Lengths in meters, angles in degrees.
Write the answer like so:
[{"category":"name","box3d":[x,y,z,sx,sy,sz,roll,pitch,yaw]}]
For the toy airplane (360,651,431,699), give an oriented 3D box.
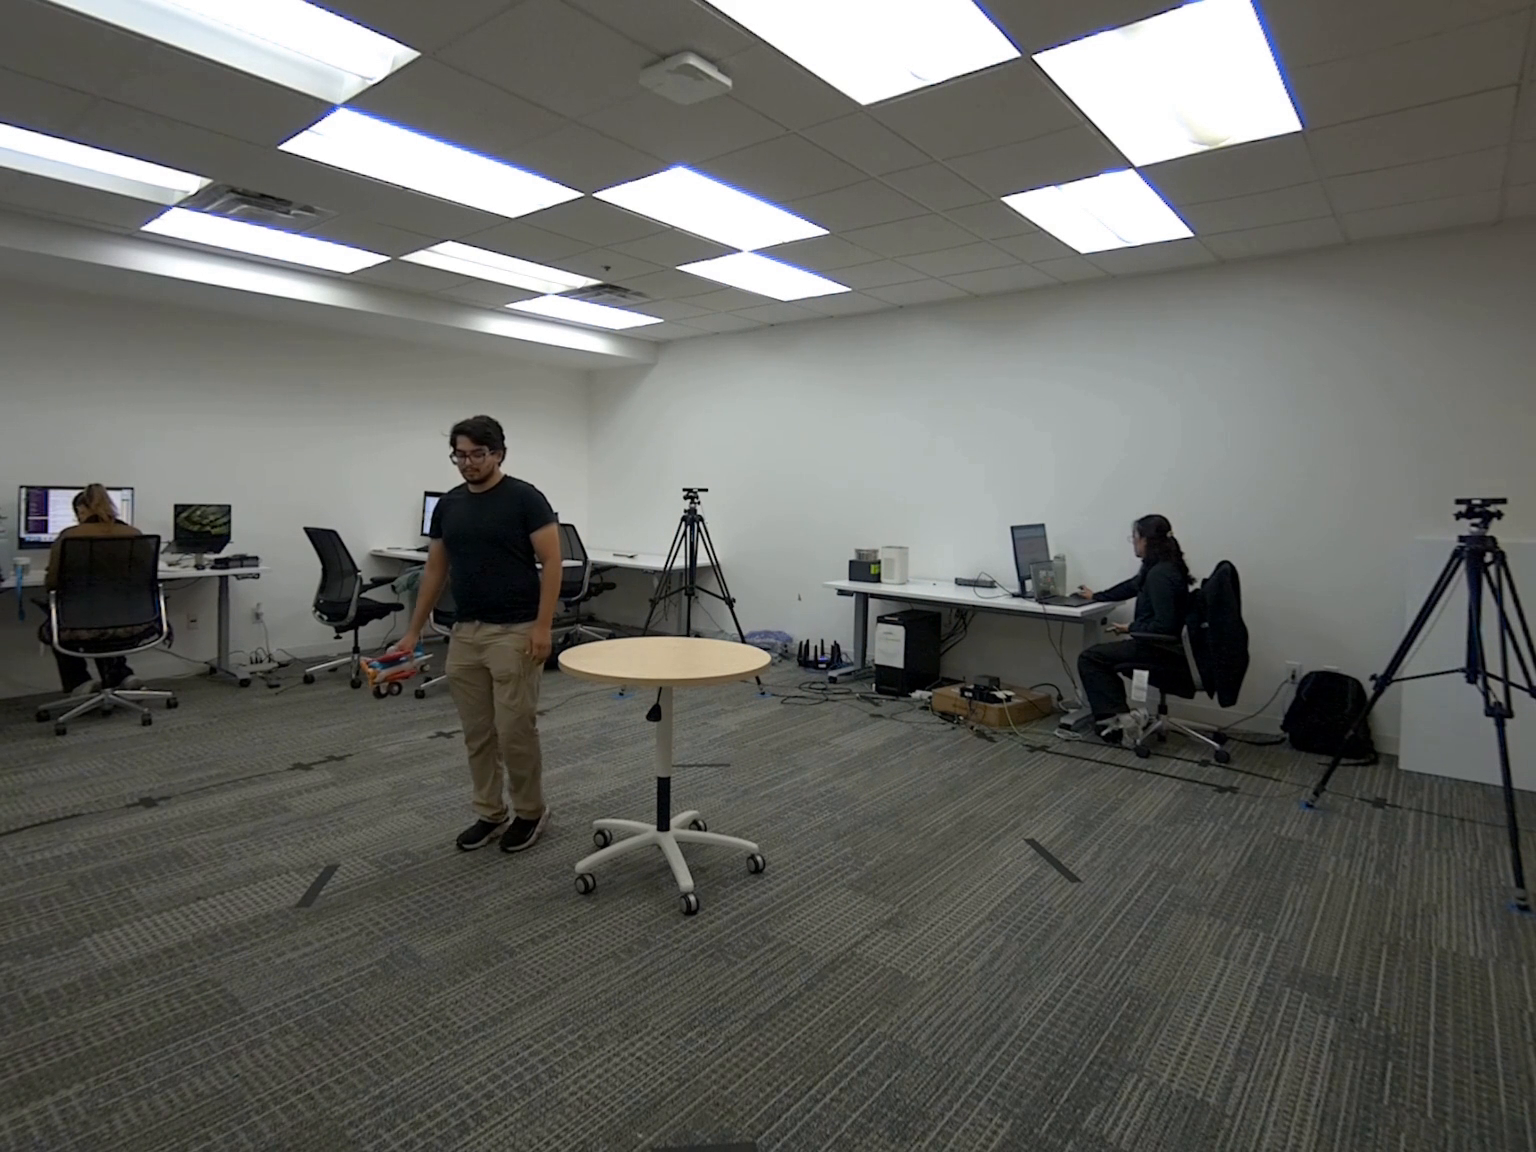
[{"category":"toy airplane","box3d":[-1.463,0.358,3.293,0.252,0.154,0.263,-21,15,3]}]
